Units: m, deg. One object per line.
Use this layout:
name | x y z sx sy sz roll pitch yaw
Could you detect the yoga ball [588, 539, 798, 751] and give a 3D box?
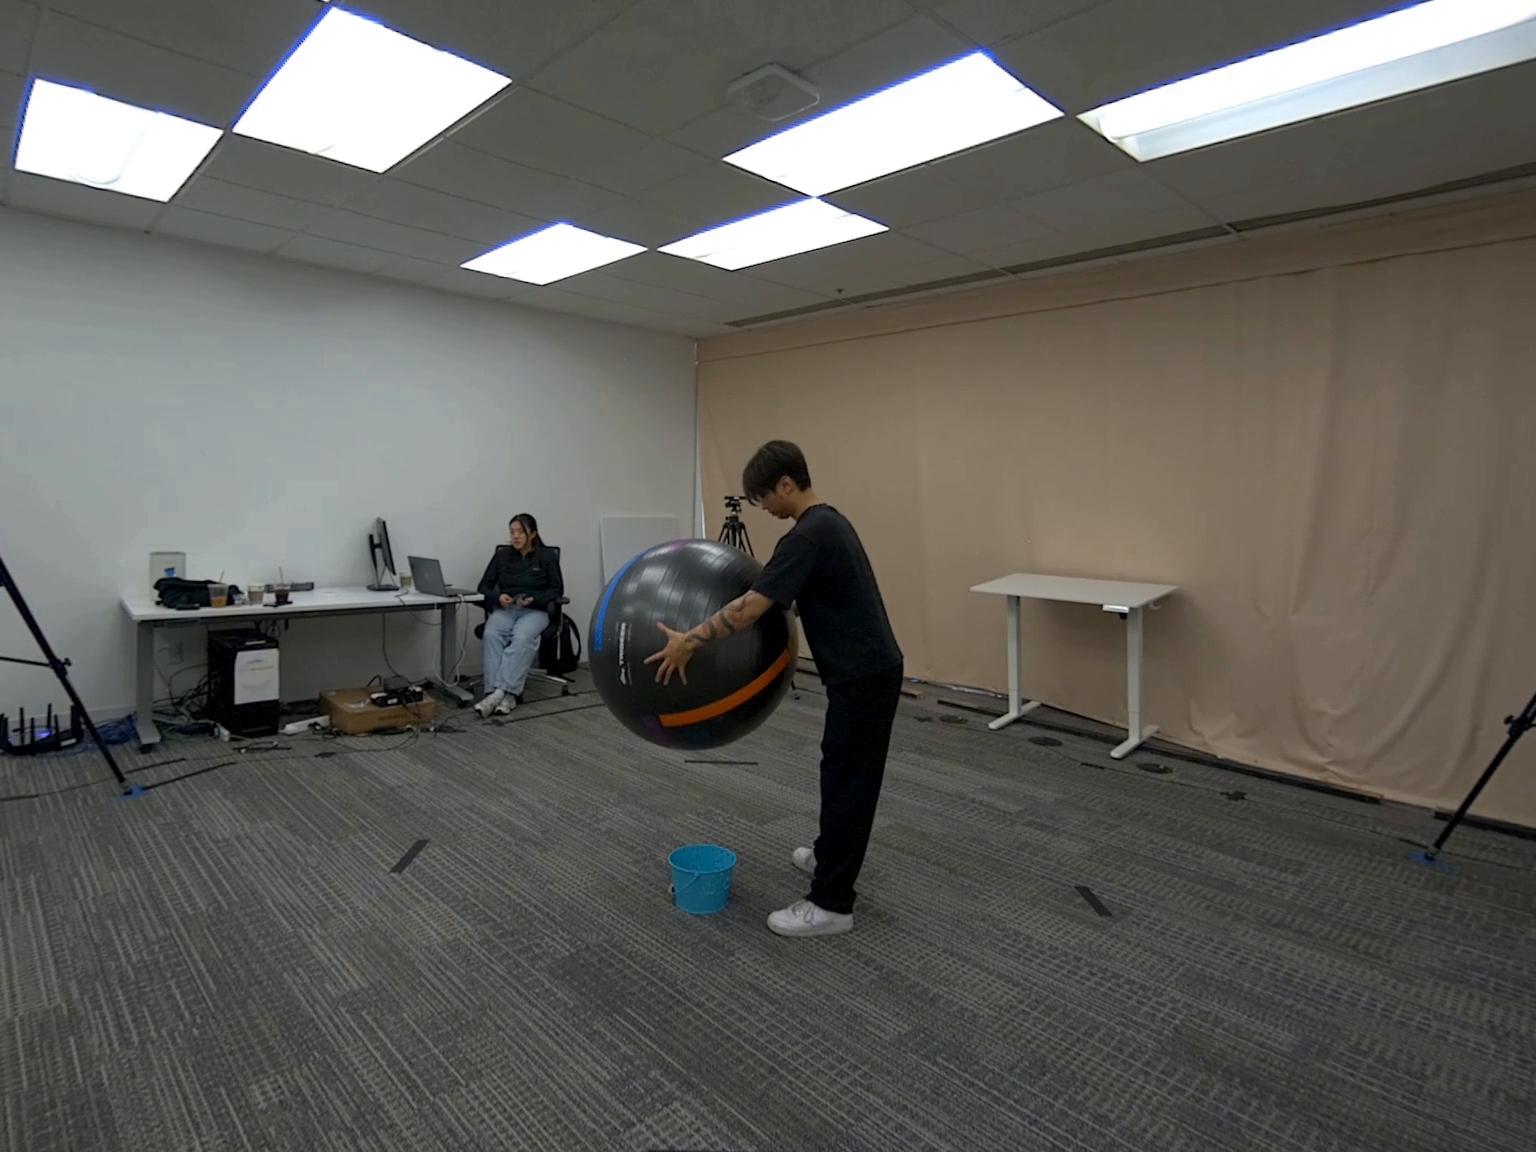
yoga ball | -0.277 0.251 3.075 0.757 0.756 0.761 1 4 -1
